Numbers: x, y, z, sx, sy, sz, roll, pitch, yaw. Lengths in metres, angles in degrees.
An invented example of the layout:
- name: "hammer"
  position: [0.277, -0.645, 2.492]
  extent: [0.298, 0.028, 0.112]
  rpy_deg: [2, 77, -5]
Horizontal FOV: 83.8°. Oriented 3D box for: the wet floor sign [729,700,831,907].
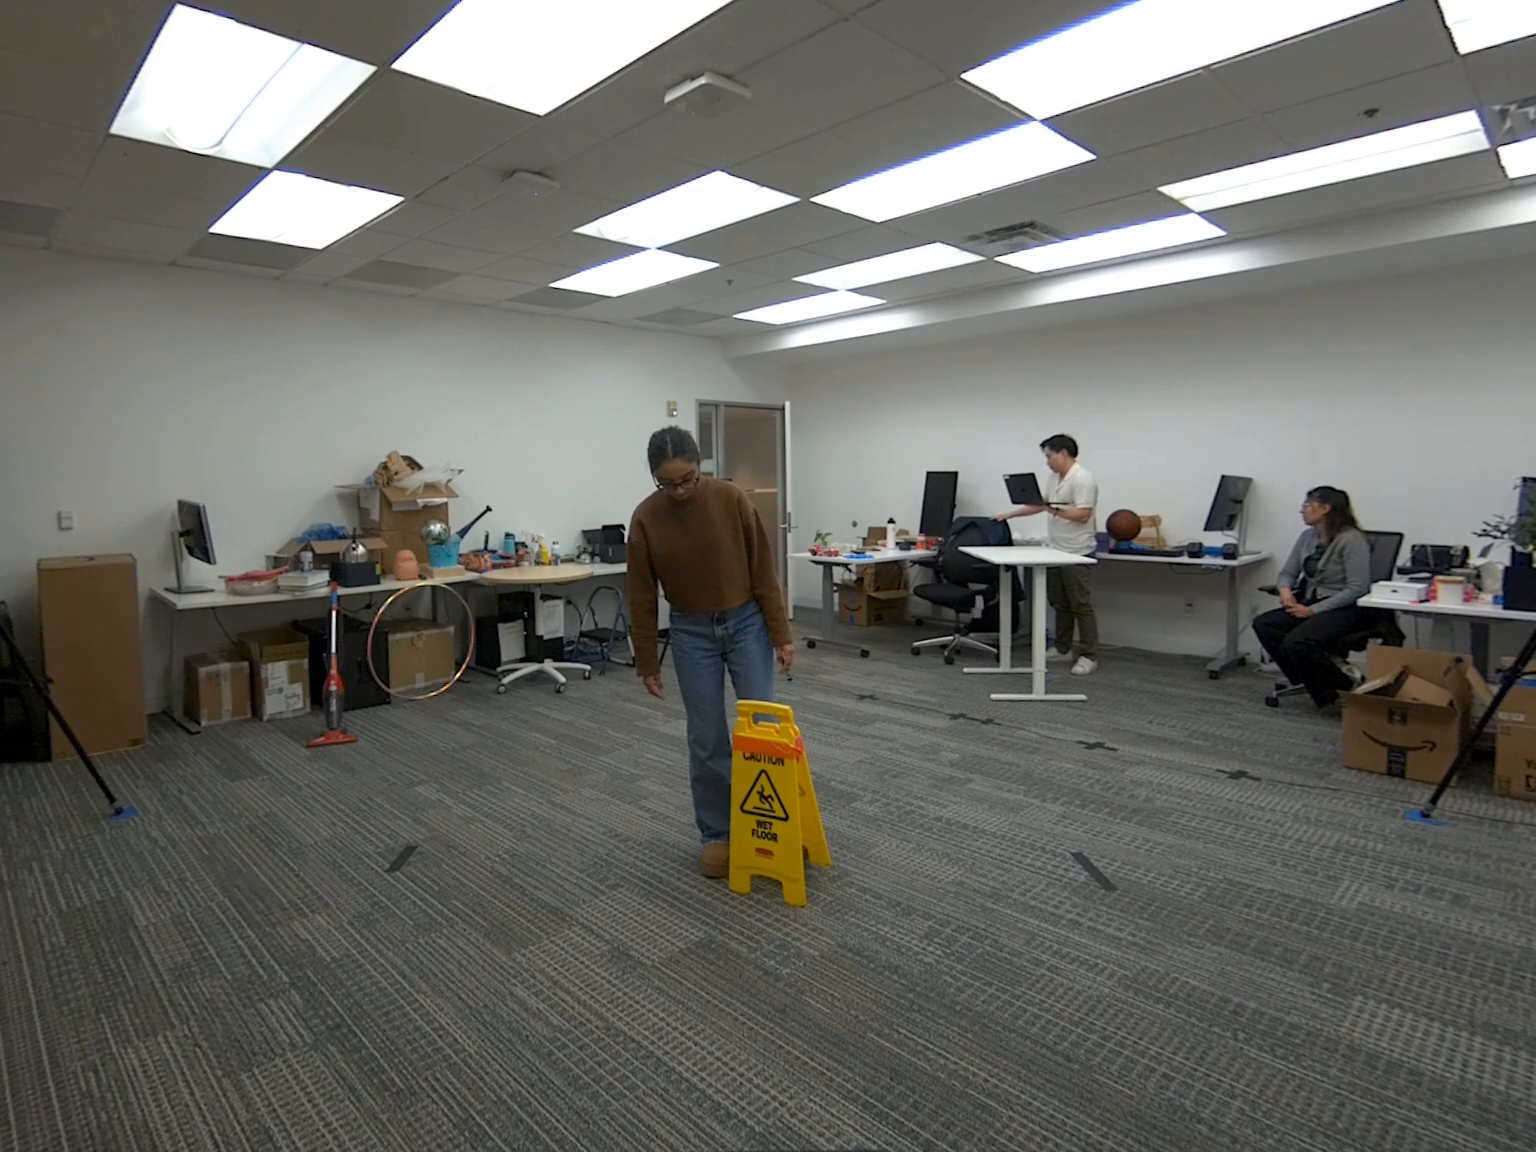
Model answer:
- name: "wet floor sign"
  position: [0.020, 0.728, 2.872]
  extent: [0.289, 0.638, 0.287]
  rpy_deg: [-1, 14, 26]
